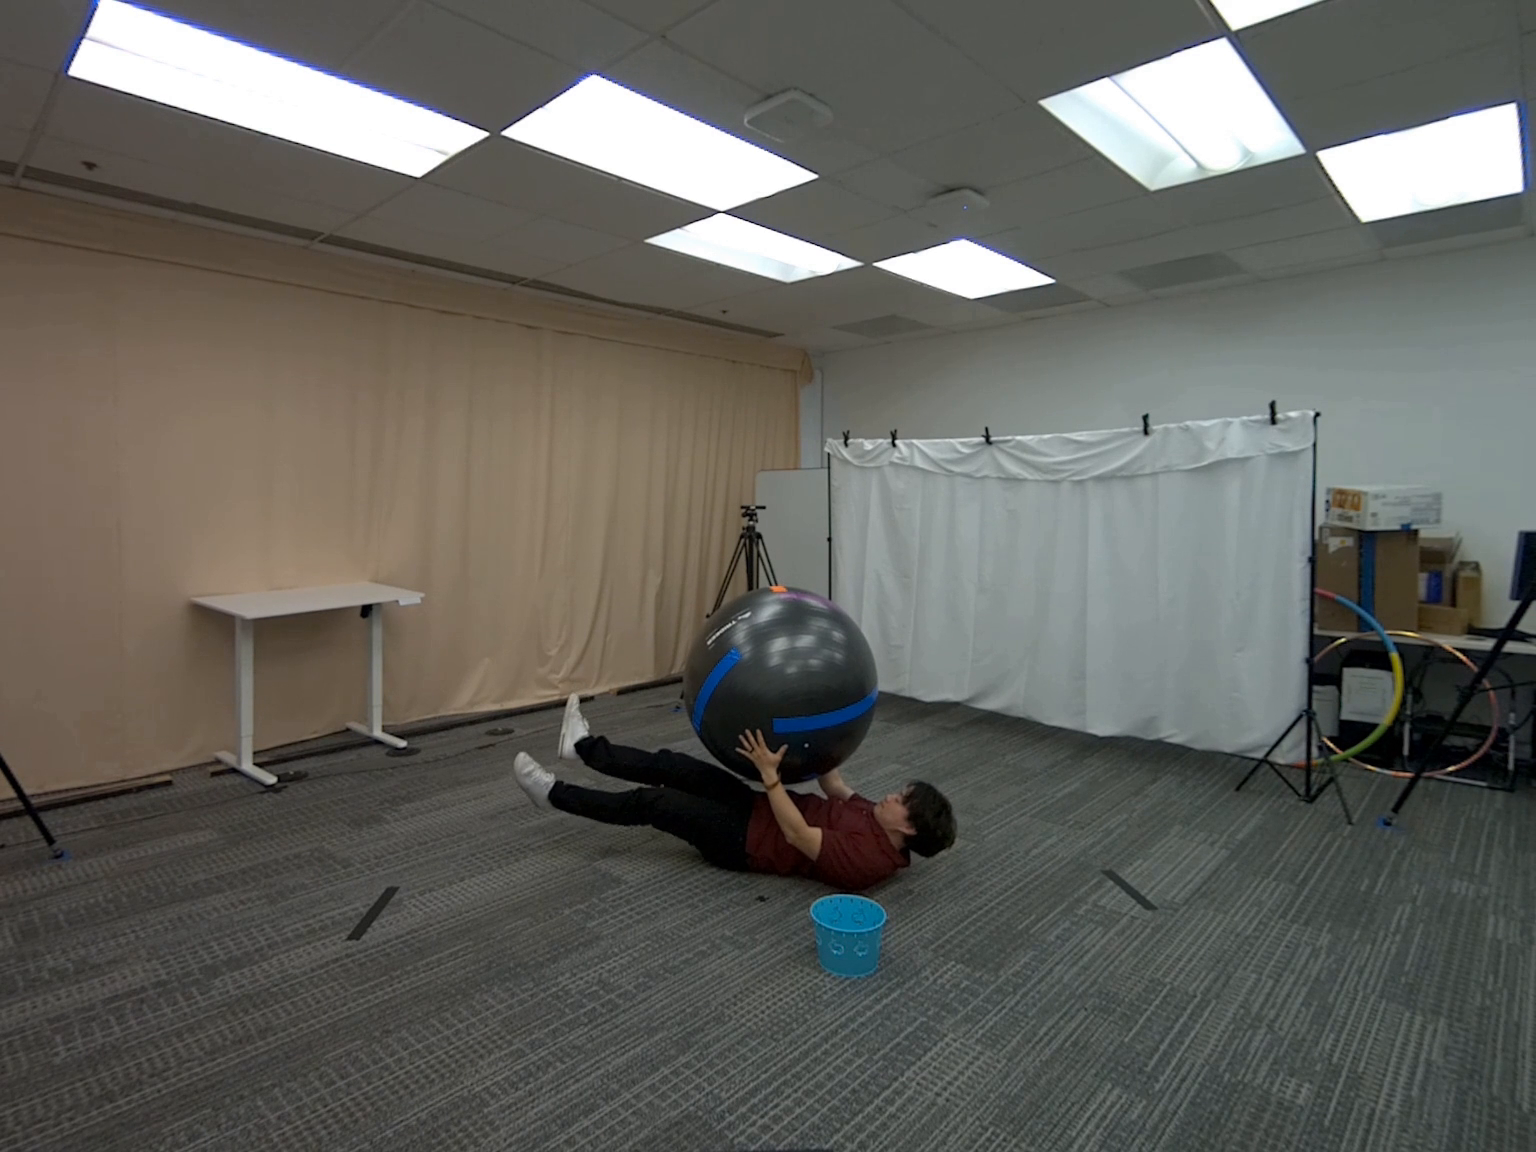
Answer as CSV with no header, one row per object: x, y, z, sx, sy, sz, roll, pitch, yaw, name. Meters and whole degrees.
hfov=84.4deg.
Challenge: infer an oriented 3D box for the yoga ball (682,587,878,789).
0.046,0.421,3.298,0.757,0.756,0.760,0,4,-2,yoga ball
